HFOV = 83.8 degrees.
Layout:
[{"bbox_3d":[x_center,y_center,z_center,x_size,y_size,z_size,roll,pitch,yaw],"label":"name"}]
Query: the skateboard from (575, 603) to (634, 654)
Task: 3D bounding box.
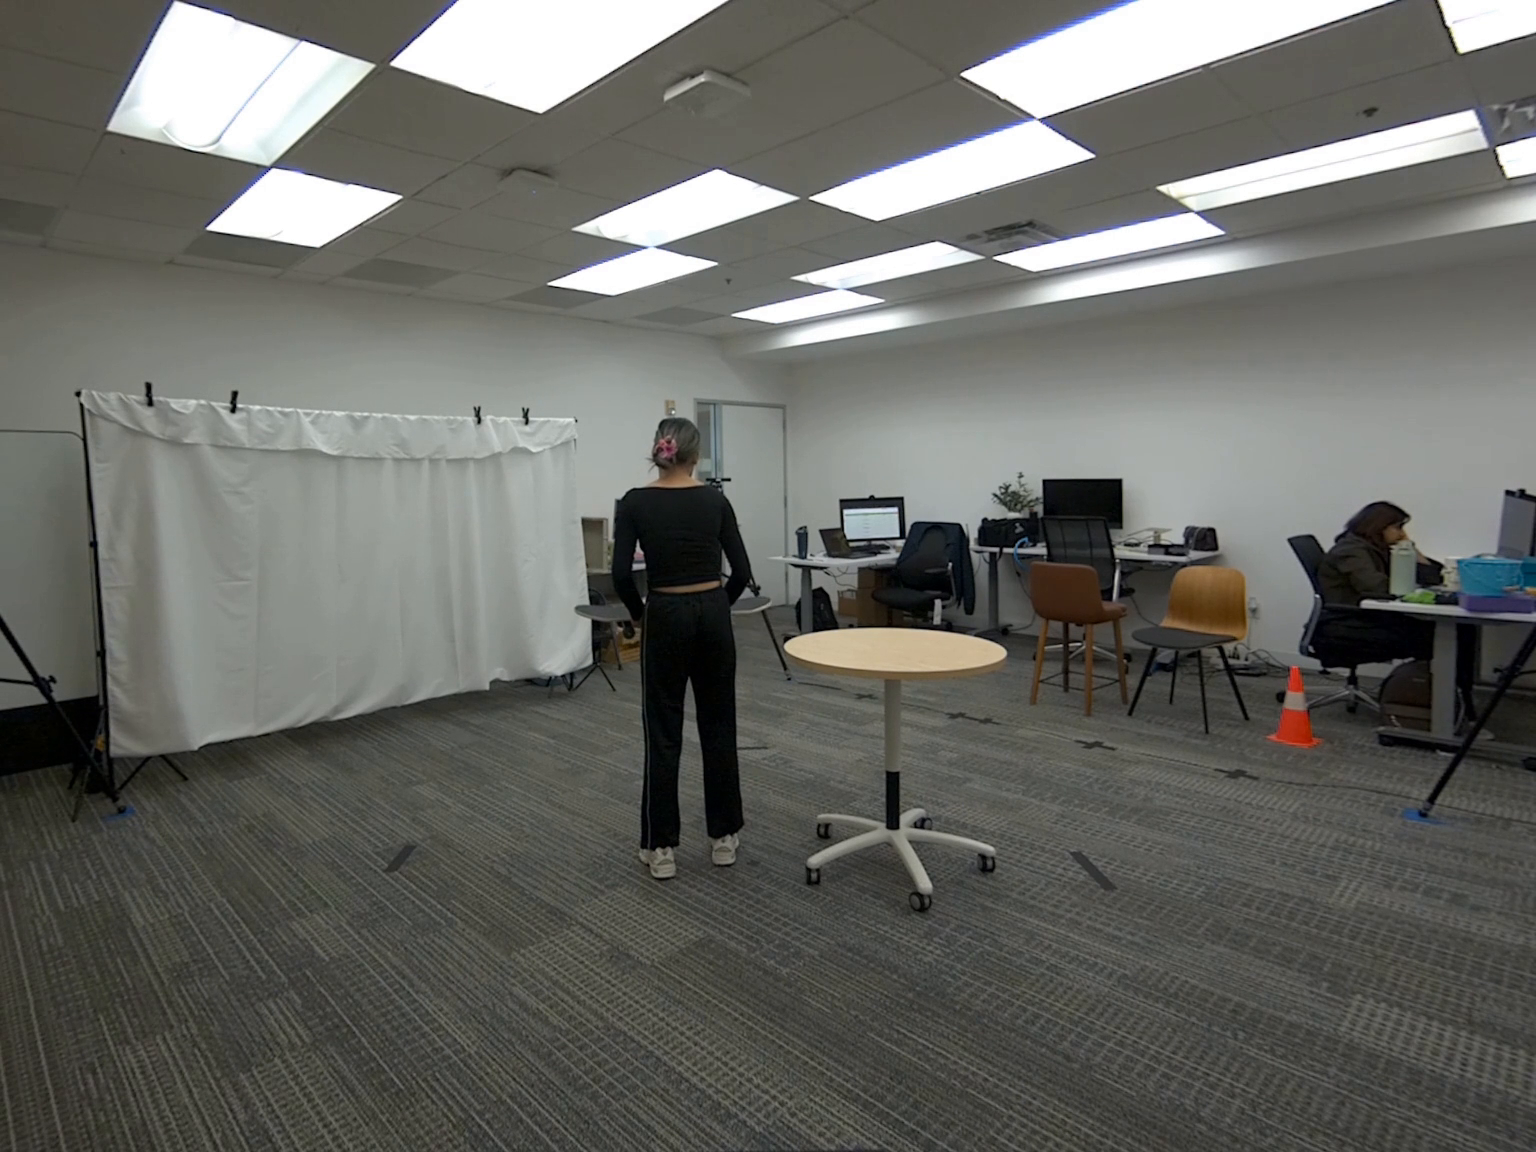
[{"bbox_3d":[-0.366,0.166,3.363,0.774,0.109,0.198,-2,12,-16],"label":"skateboard"}]
